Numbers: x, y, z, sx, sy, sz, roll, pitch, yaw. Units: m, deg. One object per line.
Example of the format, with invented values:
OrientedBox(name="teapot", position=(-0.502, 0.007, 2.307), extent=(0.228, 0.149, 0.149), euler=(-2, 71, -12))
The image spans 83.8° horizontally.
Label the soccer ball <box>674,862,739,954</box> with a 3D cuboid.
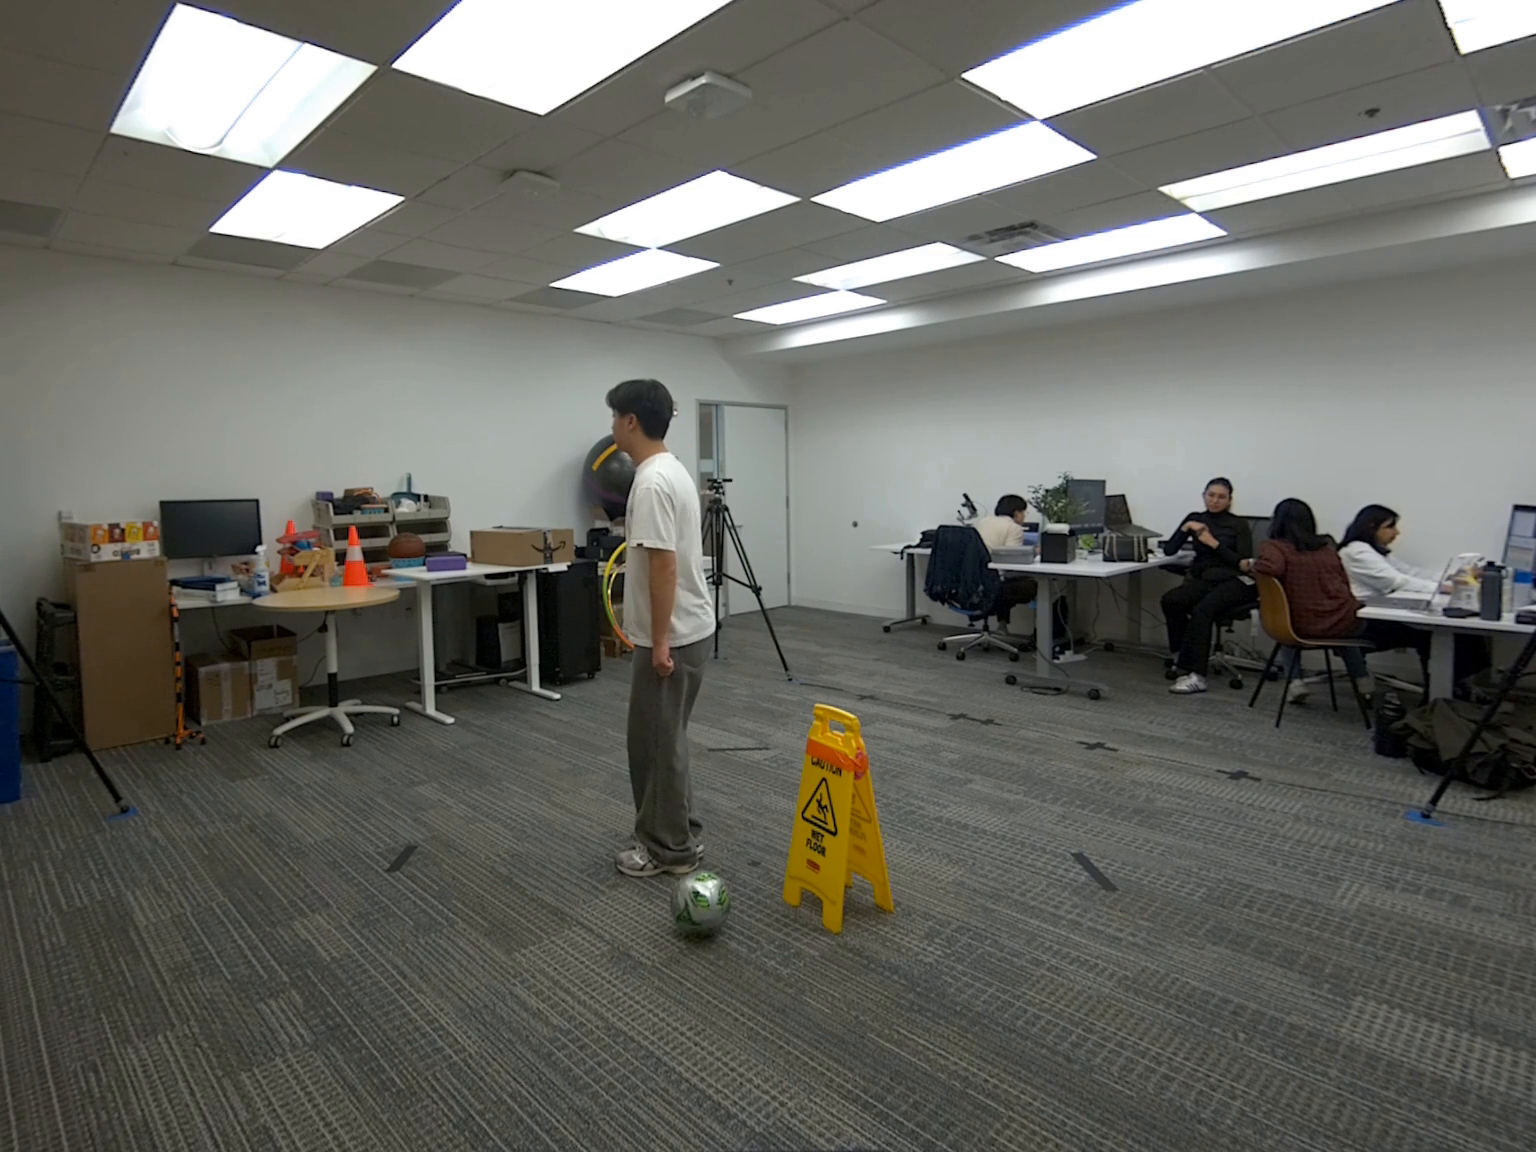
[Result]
OrientedBox(name="soccer ball", position=(-0.189, 1.017, 2.641), extent=(0.187, 0.187, 0.188), euler=(-1, 5, -2))
